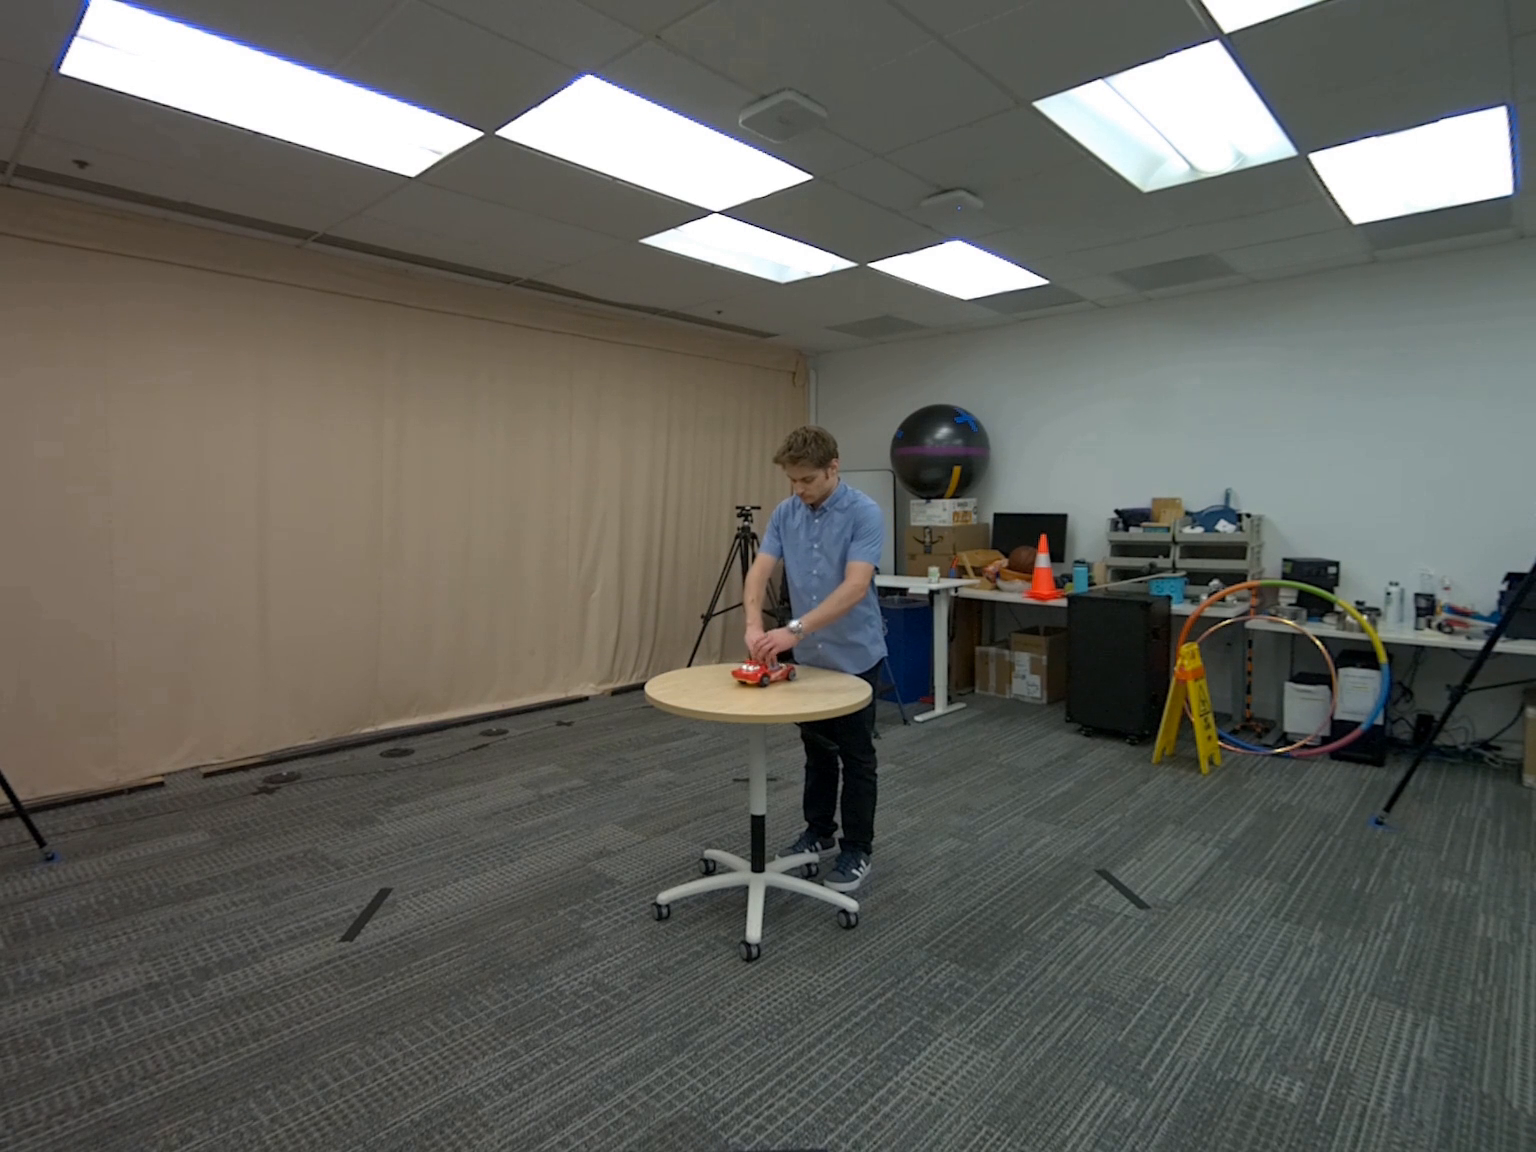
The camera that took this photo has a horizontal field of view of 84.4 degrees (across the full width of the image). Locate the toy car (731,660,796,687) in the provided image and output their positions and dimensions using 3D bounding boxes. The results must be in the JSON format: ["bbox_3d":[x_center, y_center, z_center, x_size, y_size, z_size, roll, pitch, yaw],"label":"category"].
[{"bbox_3d":[-0.019,0.338,2.892,0.135,0.083,0.246,4,-4,43],"label":"toy car"}]
